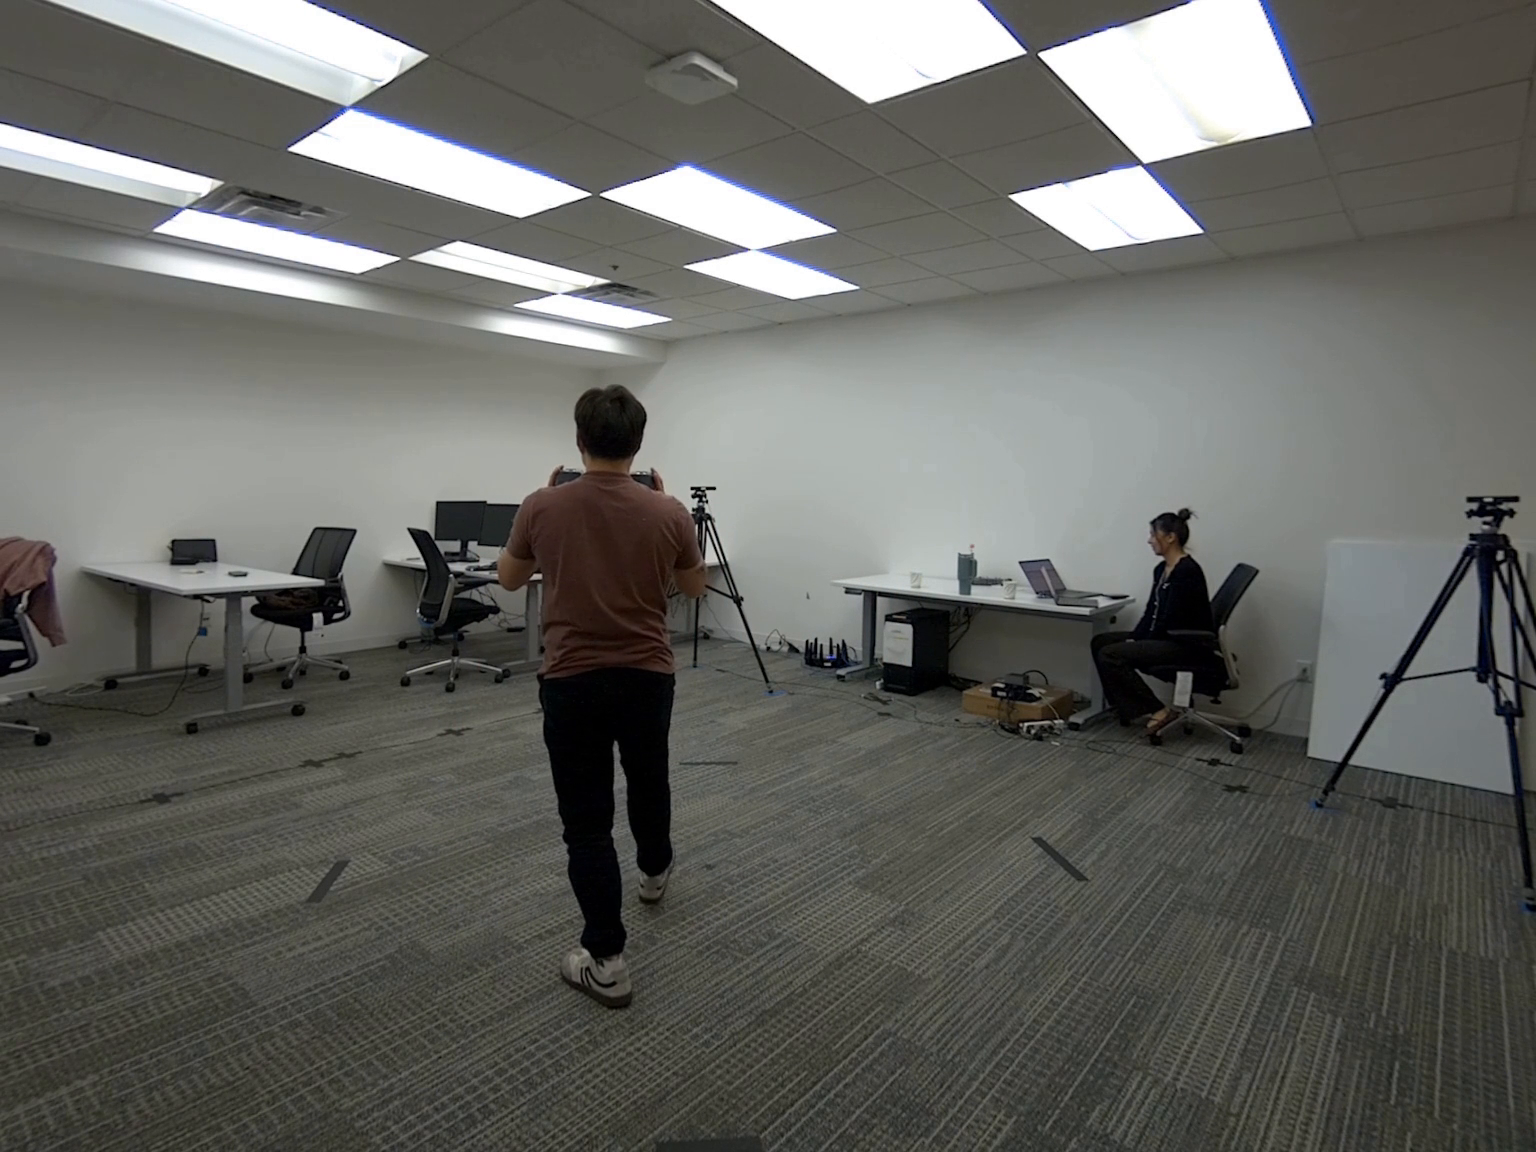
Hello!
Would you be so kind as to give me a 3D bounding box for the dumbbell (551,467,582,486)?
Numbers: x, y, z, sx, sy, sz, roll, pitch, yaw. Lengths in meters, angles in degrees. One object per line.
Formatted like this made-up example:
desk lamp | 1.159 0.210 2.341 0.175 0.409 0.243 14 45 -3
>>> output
dumbbell | -0.483 -0.250 2.533 0.292 0.107 0.125 0 18 -5
